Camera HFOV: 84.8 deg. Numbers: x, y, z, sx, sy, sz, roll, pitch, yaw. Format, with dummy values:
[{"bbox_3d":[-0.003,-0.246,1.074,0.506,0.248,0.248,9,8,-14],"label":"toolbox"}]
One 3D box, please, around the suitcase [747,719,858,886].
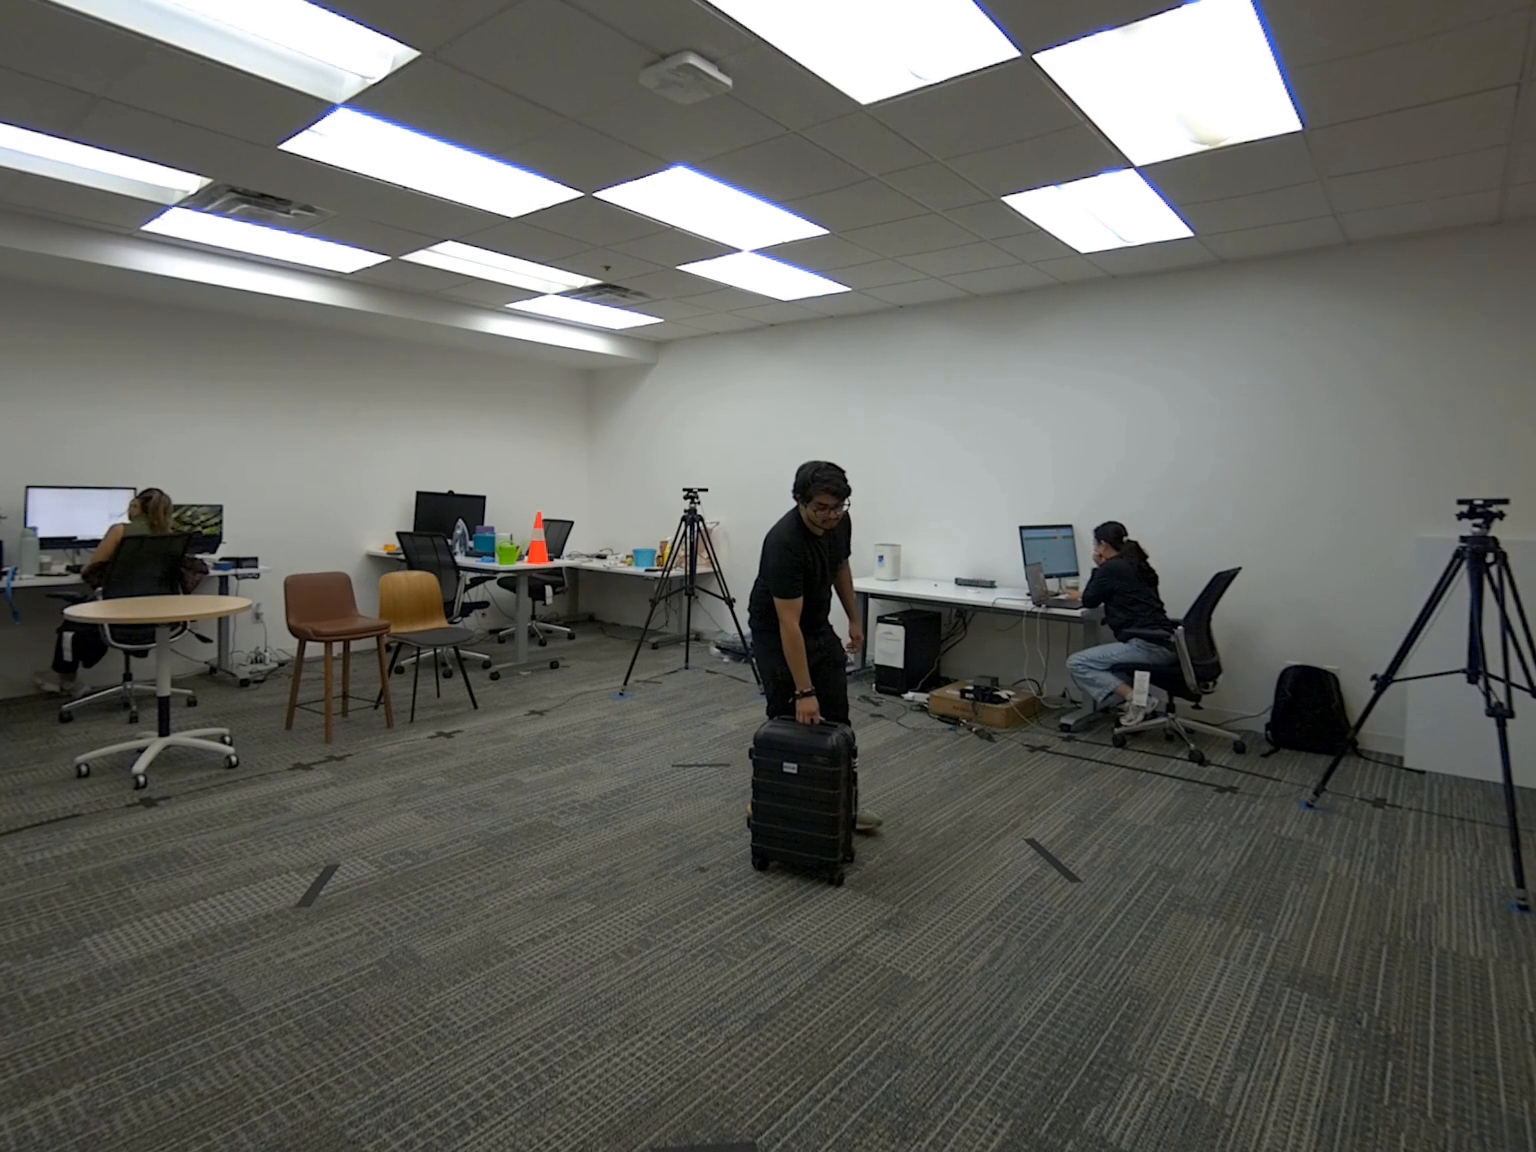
[{"bbox_3d":[0.120,0.800,3.133,0.384,0.546,0.244,2,6,23],"label":"suitcase"}]
